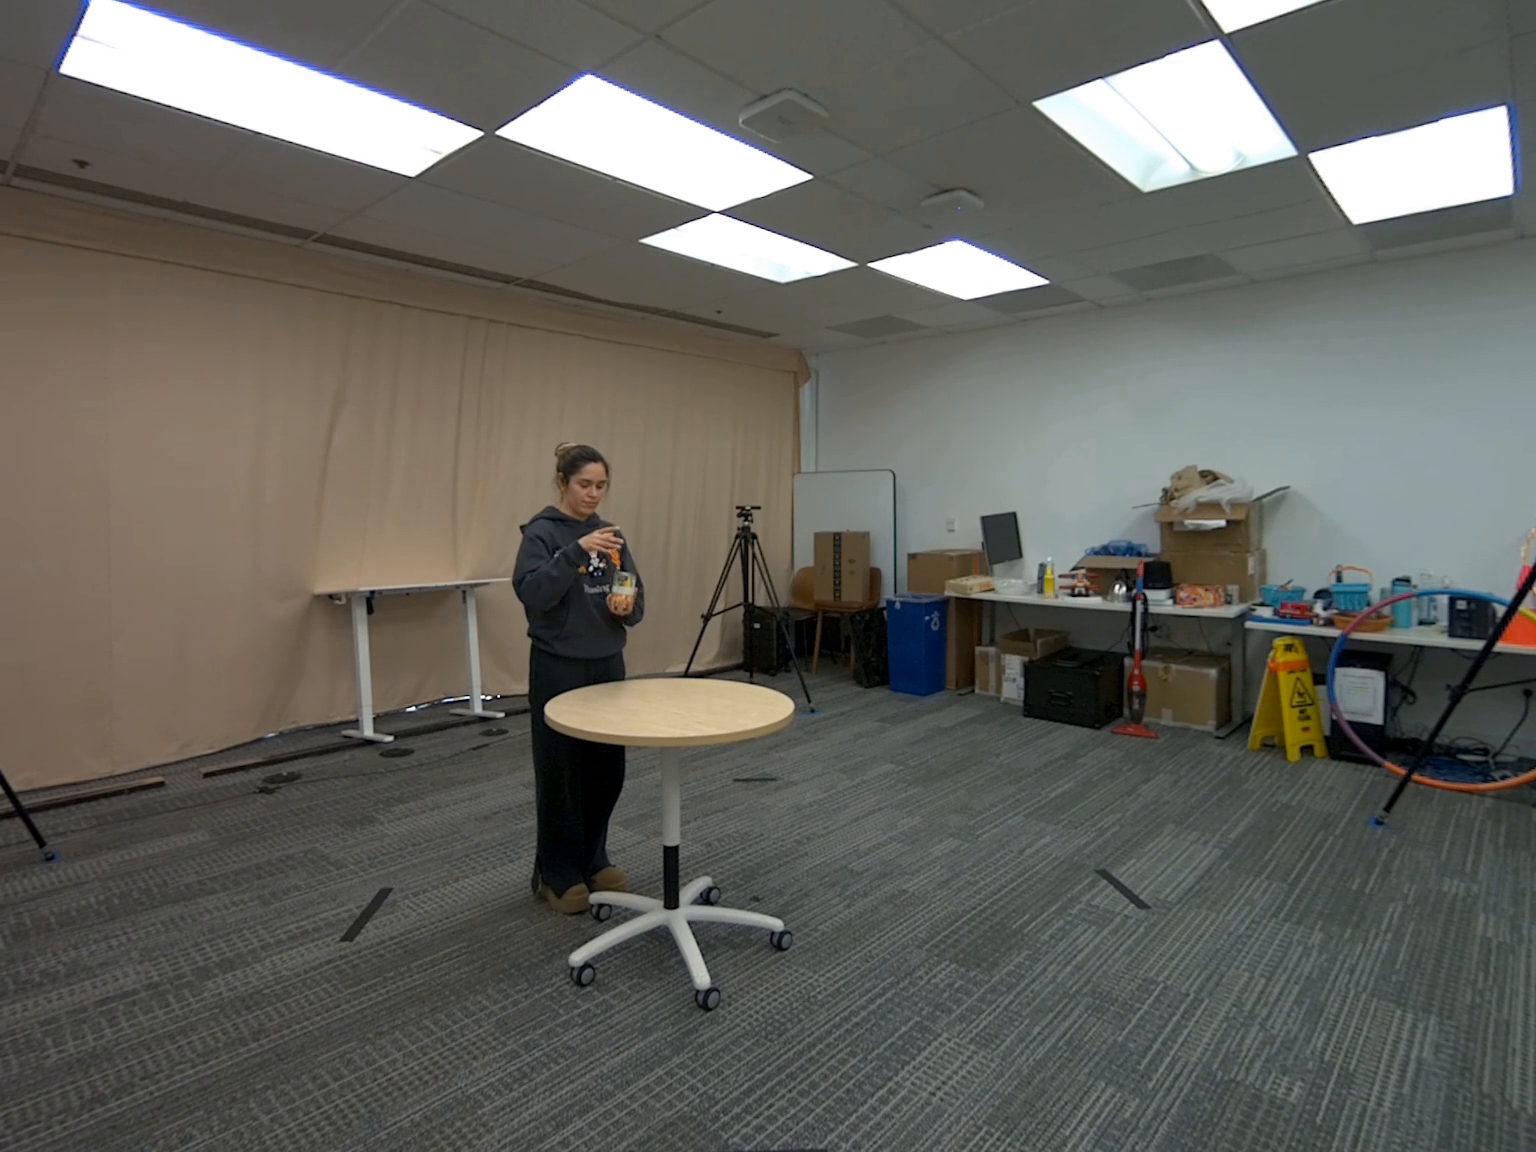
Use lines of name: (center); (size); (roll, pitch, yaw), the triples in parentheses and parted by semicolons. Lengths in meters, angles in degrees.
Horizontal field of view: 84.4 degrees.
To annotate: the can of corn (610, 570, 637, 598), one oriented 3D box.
can of corn: (-0.508, -0.006, 2.825); (0.074, 0.111, 0.074); (5, 2, -2)
